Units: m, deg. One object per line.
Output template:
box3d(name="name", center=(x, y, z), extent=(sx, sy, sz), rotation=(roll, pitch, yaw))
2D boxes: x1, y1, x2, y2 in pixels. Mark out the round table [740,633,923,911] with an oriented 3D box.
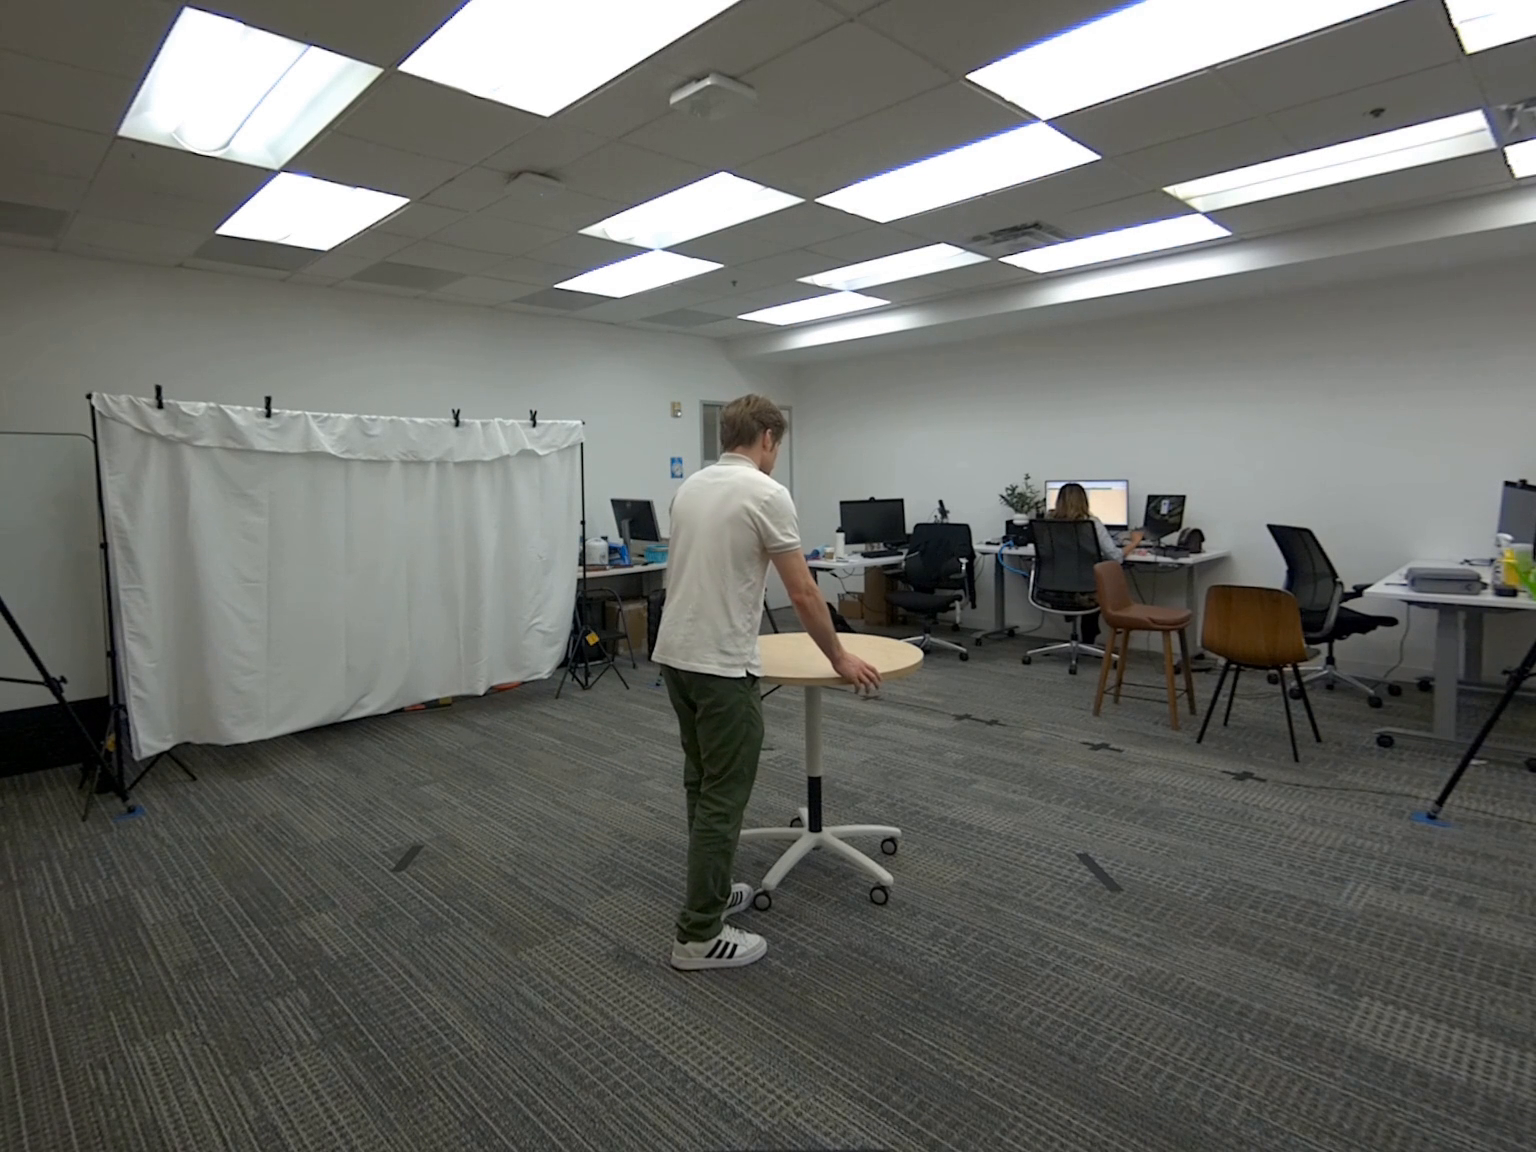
box3d(name="round table", center=(0.167, 0.661, 3.046), extent=(0.763, 0.791, 0.768), rotation=(-1, 5, -2))
